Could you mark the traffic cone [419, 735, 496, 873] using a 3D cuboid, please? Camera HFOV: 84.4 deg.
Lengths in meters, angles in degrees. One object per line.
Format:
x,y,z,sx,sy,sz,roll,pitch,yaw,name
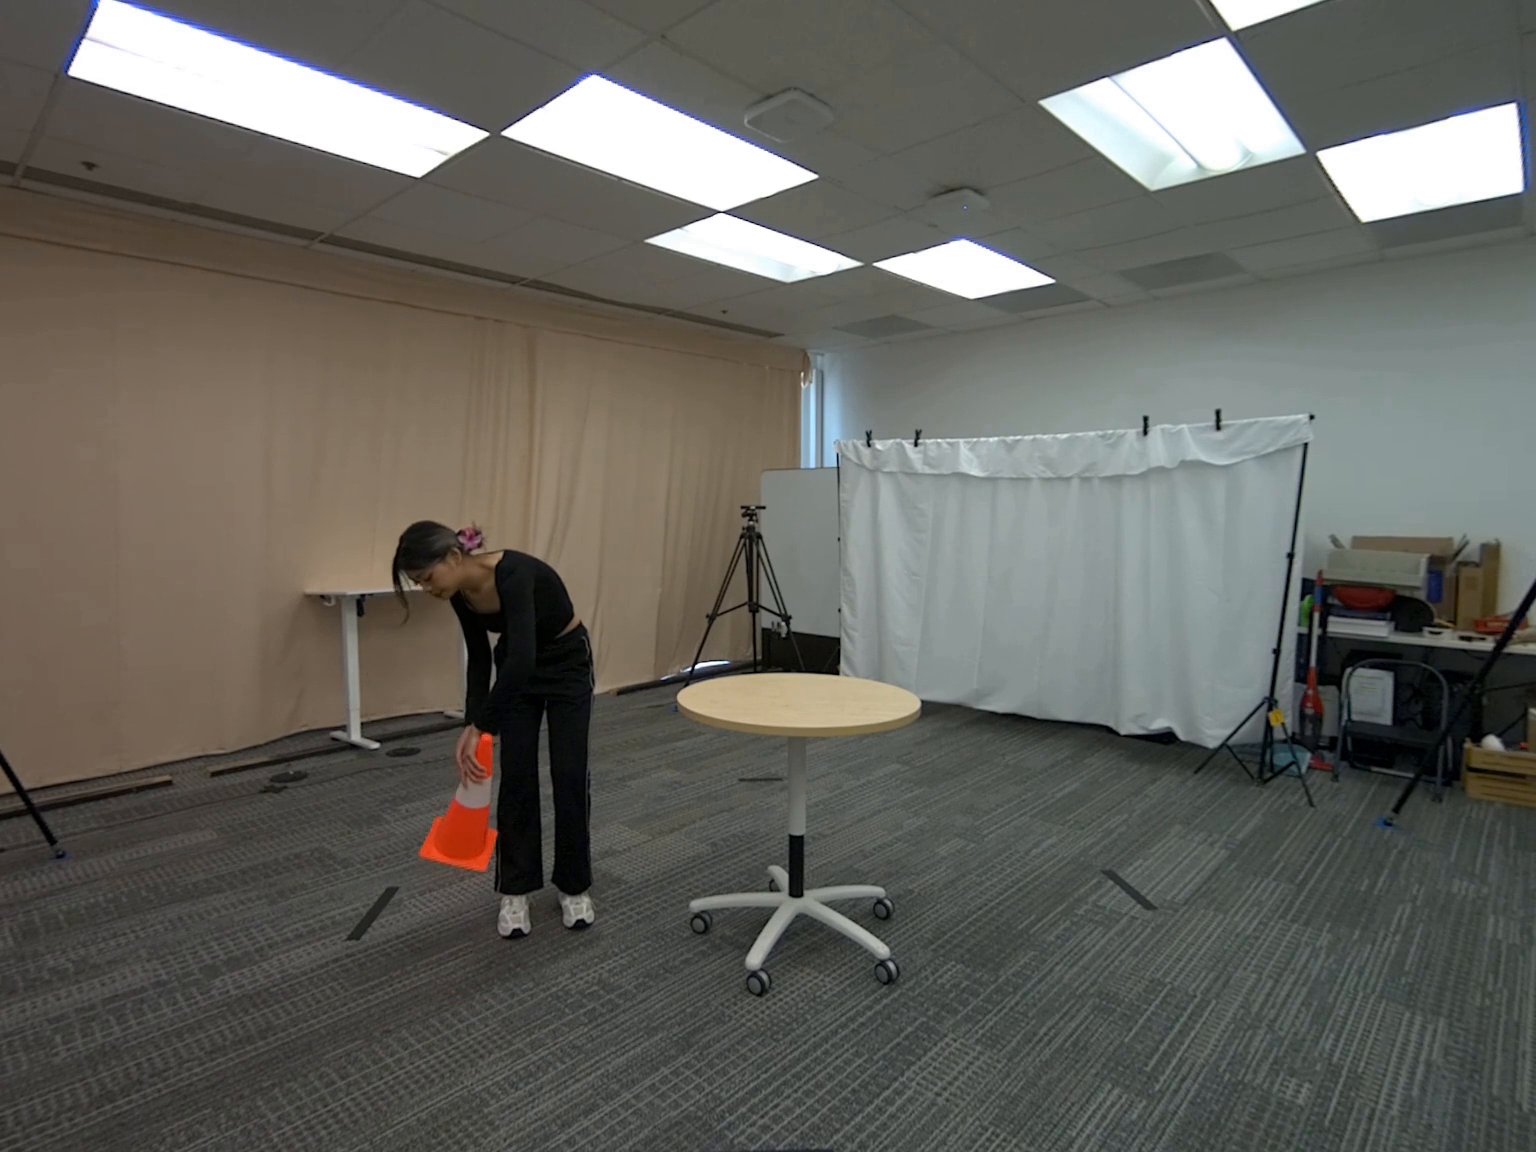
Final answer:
-0.886,0.640,2.505,0.203,0.382,0.207,10,13,-10,traffic cone
